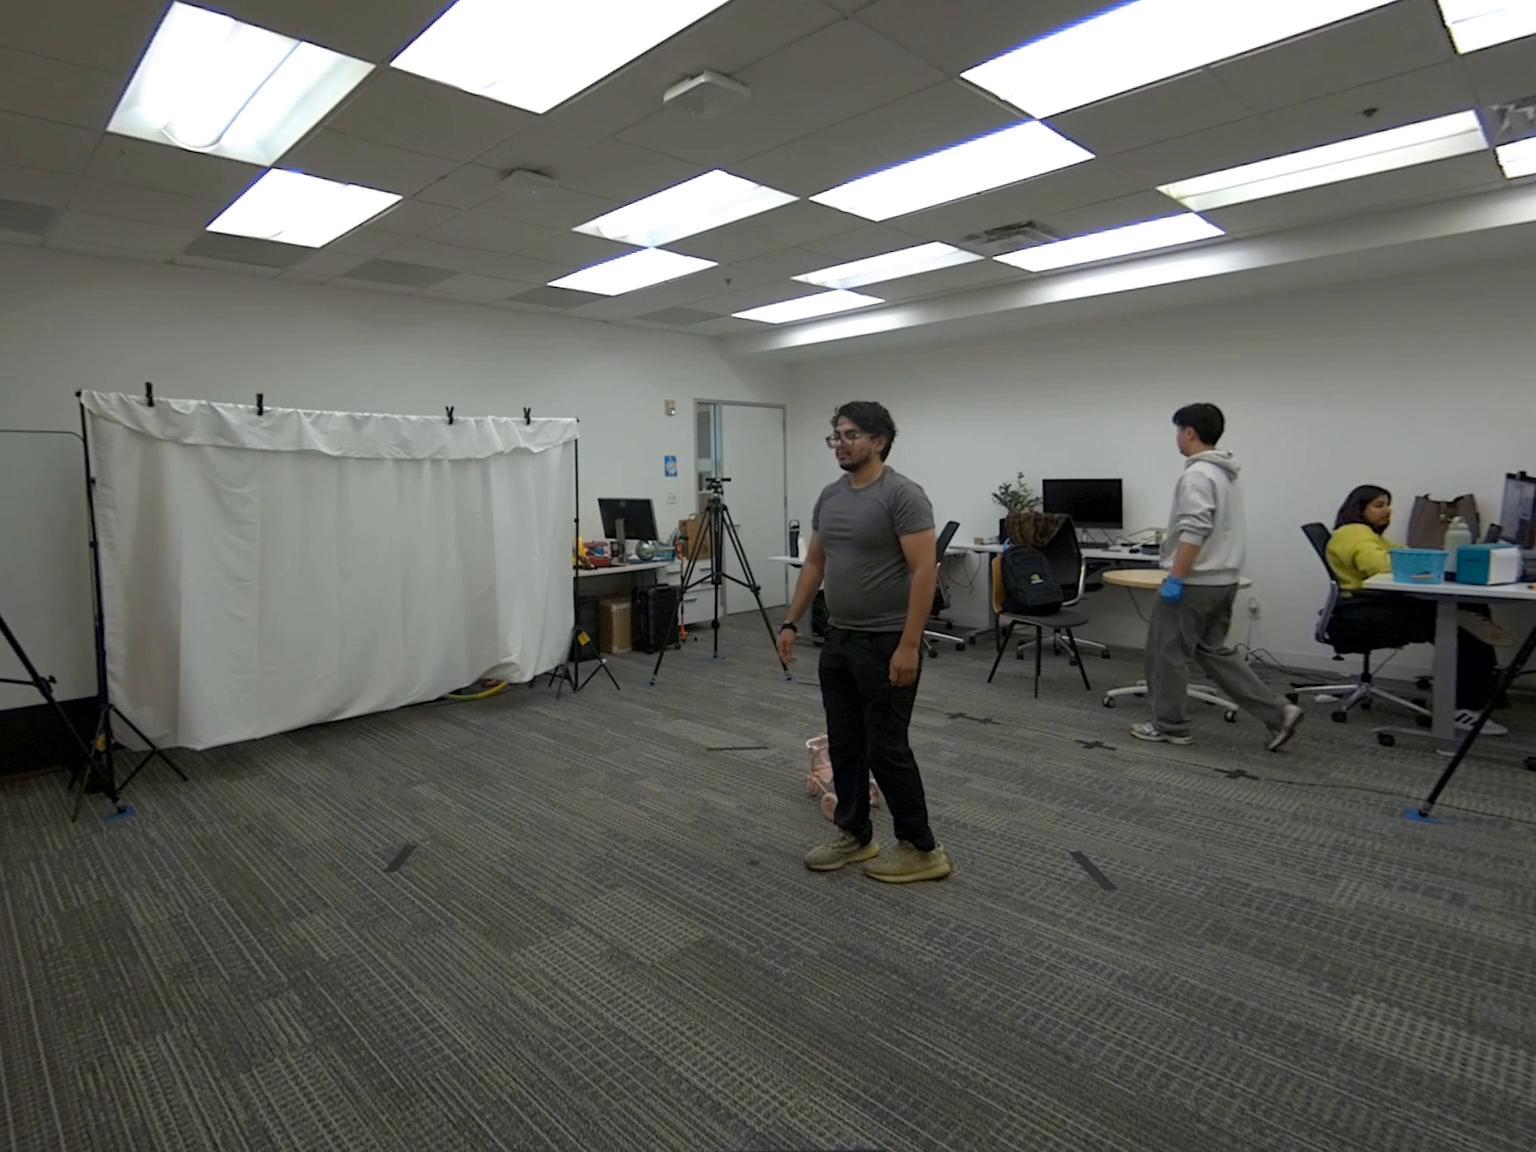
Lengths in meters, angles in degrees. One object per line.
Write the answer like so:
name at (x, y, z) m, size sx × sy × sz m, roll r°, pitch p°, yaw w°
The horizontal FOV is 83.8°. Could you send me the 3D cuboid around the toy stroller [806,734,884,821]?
toy stroller at (0.326, 0.759, 3.596) m, size 0.274 × 0.528 × 0.354 m, roll -3°, pitch 22°, yaw -34°
